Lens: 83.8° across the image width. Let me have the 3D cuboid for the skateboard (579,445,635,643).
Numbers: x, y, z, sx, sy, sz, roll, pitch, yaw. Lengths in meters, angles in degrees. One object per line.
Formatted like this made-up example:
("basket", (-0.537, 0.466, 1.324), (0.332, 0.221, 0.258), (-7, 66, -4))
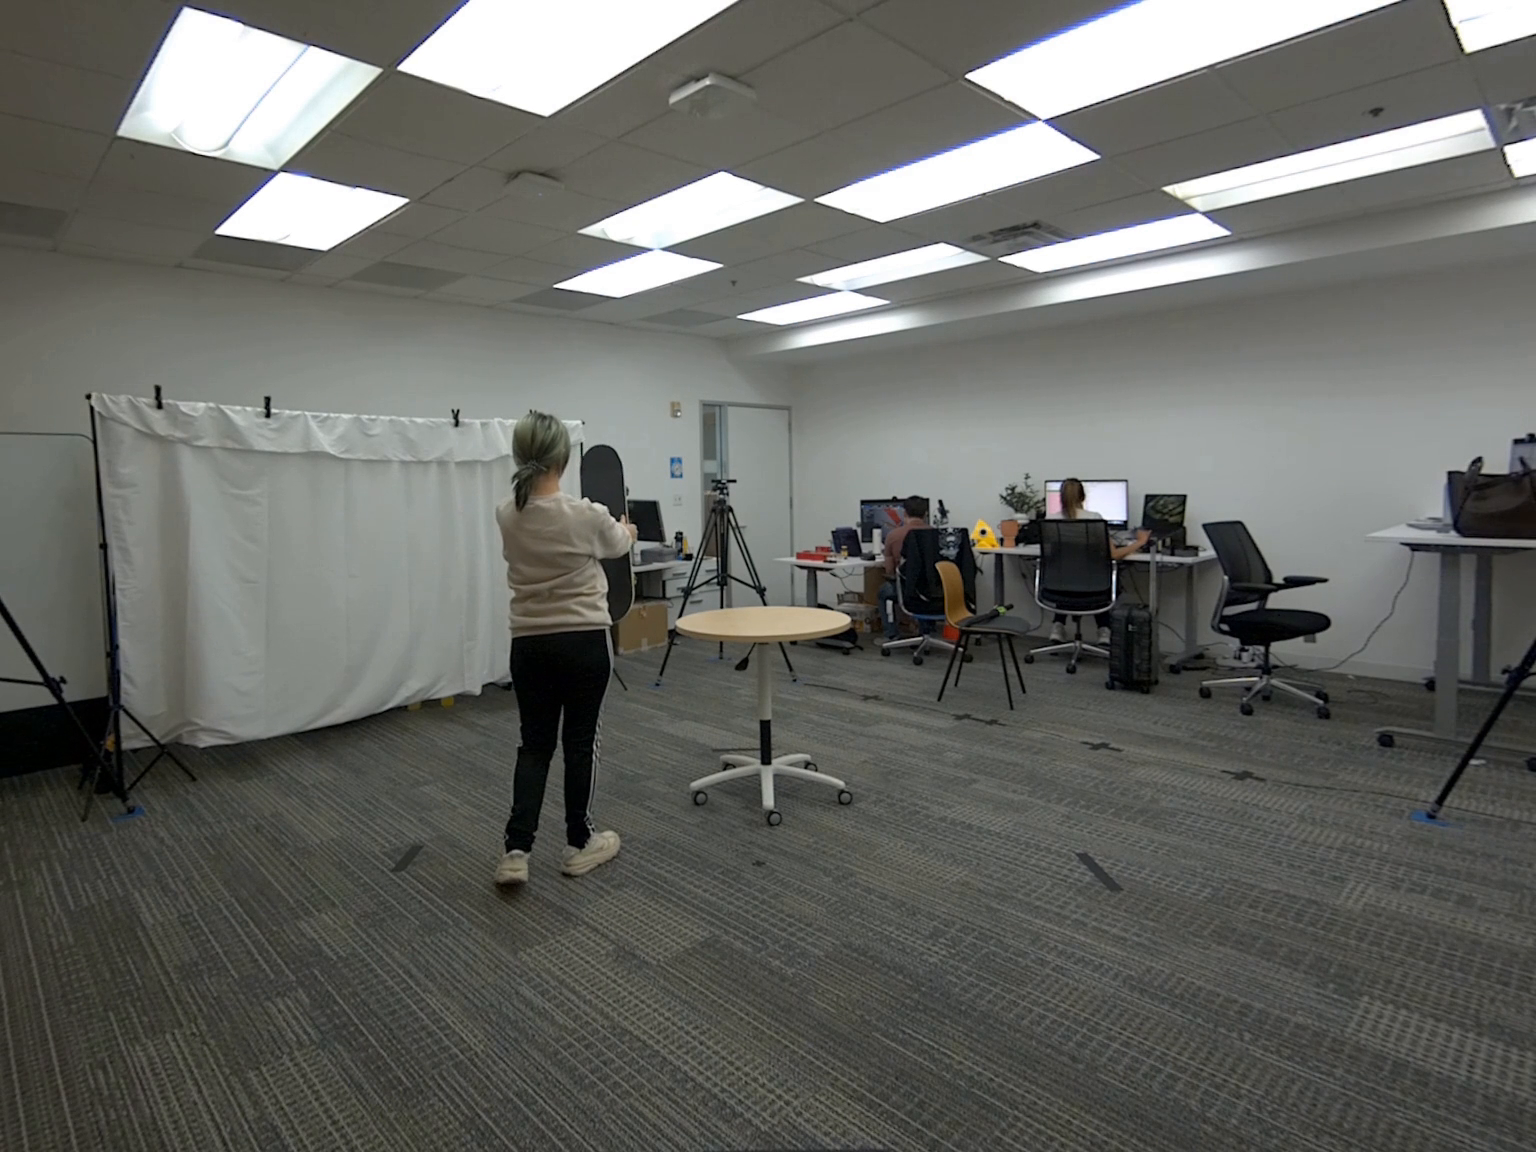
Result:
("skateboard", (-0.669, -0.169, 3.543), (0.194, 0.802, 0.107), (-12, -20, 6))
